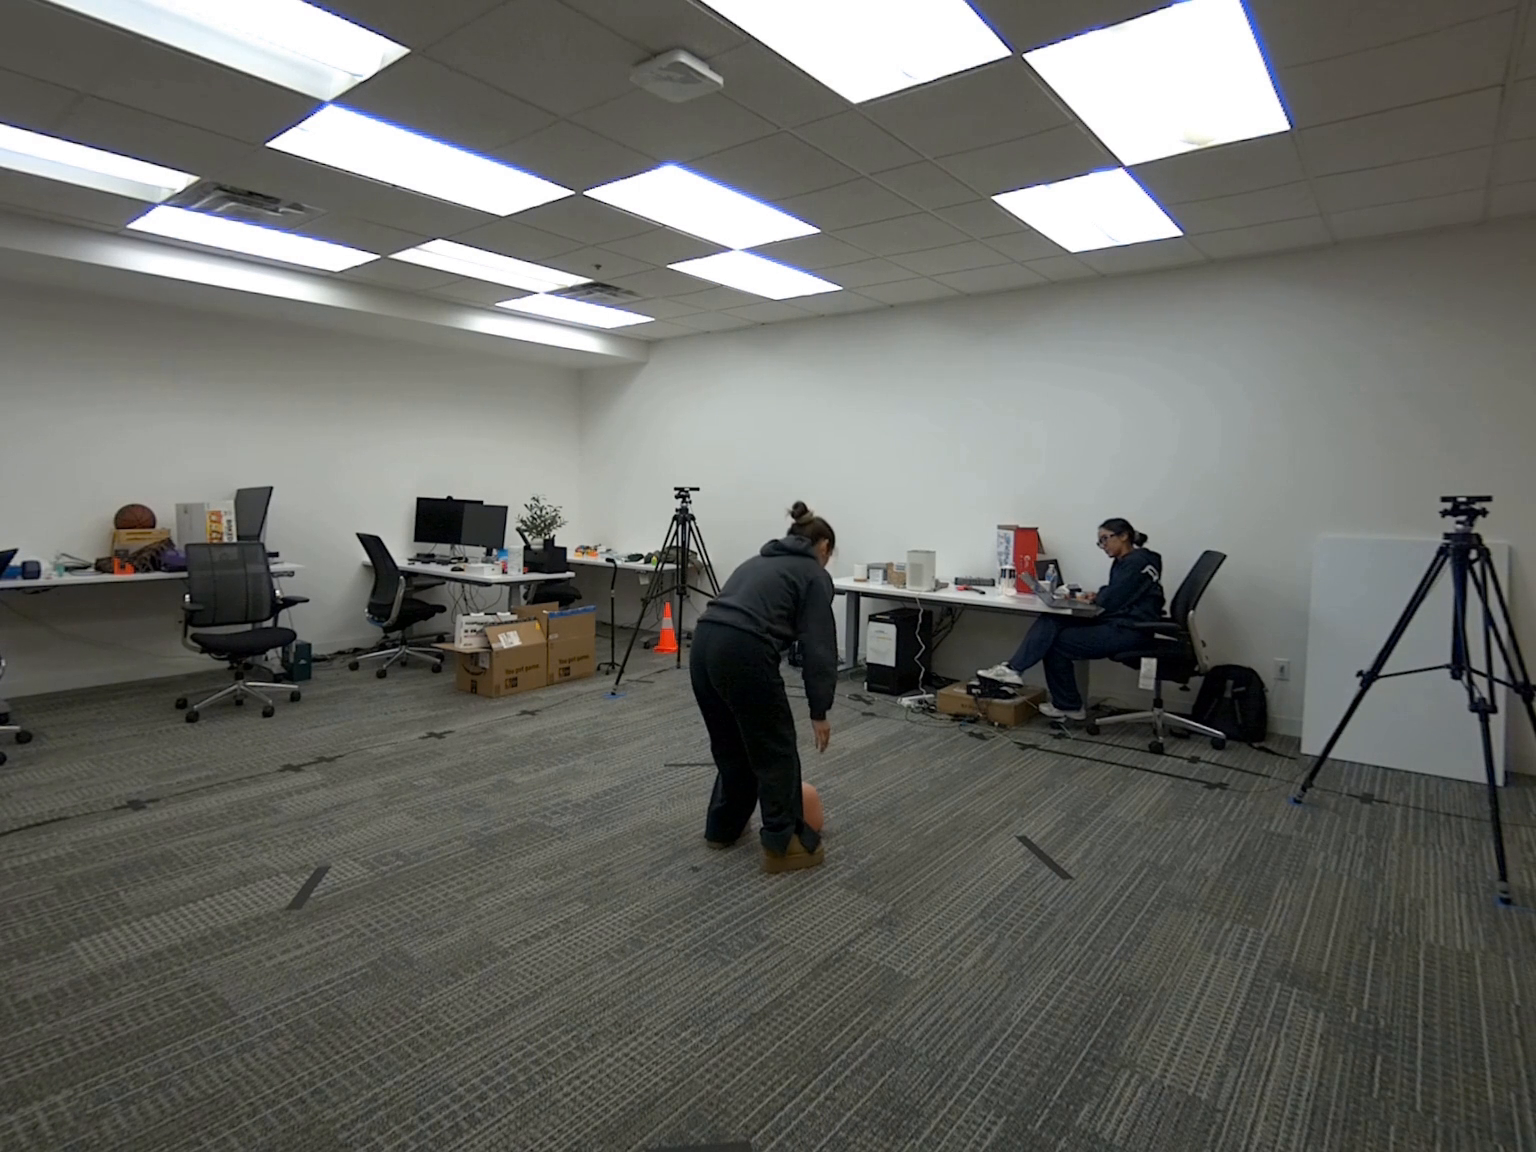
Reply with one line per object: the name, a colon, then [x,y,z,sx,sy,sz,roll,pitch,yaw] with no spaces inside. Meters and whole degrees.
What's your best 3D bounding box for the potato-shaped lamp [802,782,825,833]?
potato-shaped lamp: [0.144,0.934,3.464,0.170,0.197,0.167,5,8,35]
